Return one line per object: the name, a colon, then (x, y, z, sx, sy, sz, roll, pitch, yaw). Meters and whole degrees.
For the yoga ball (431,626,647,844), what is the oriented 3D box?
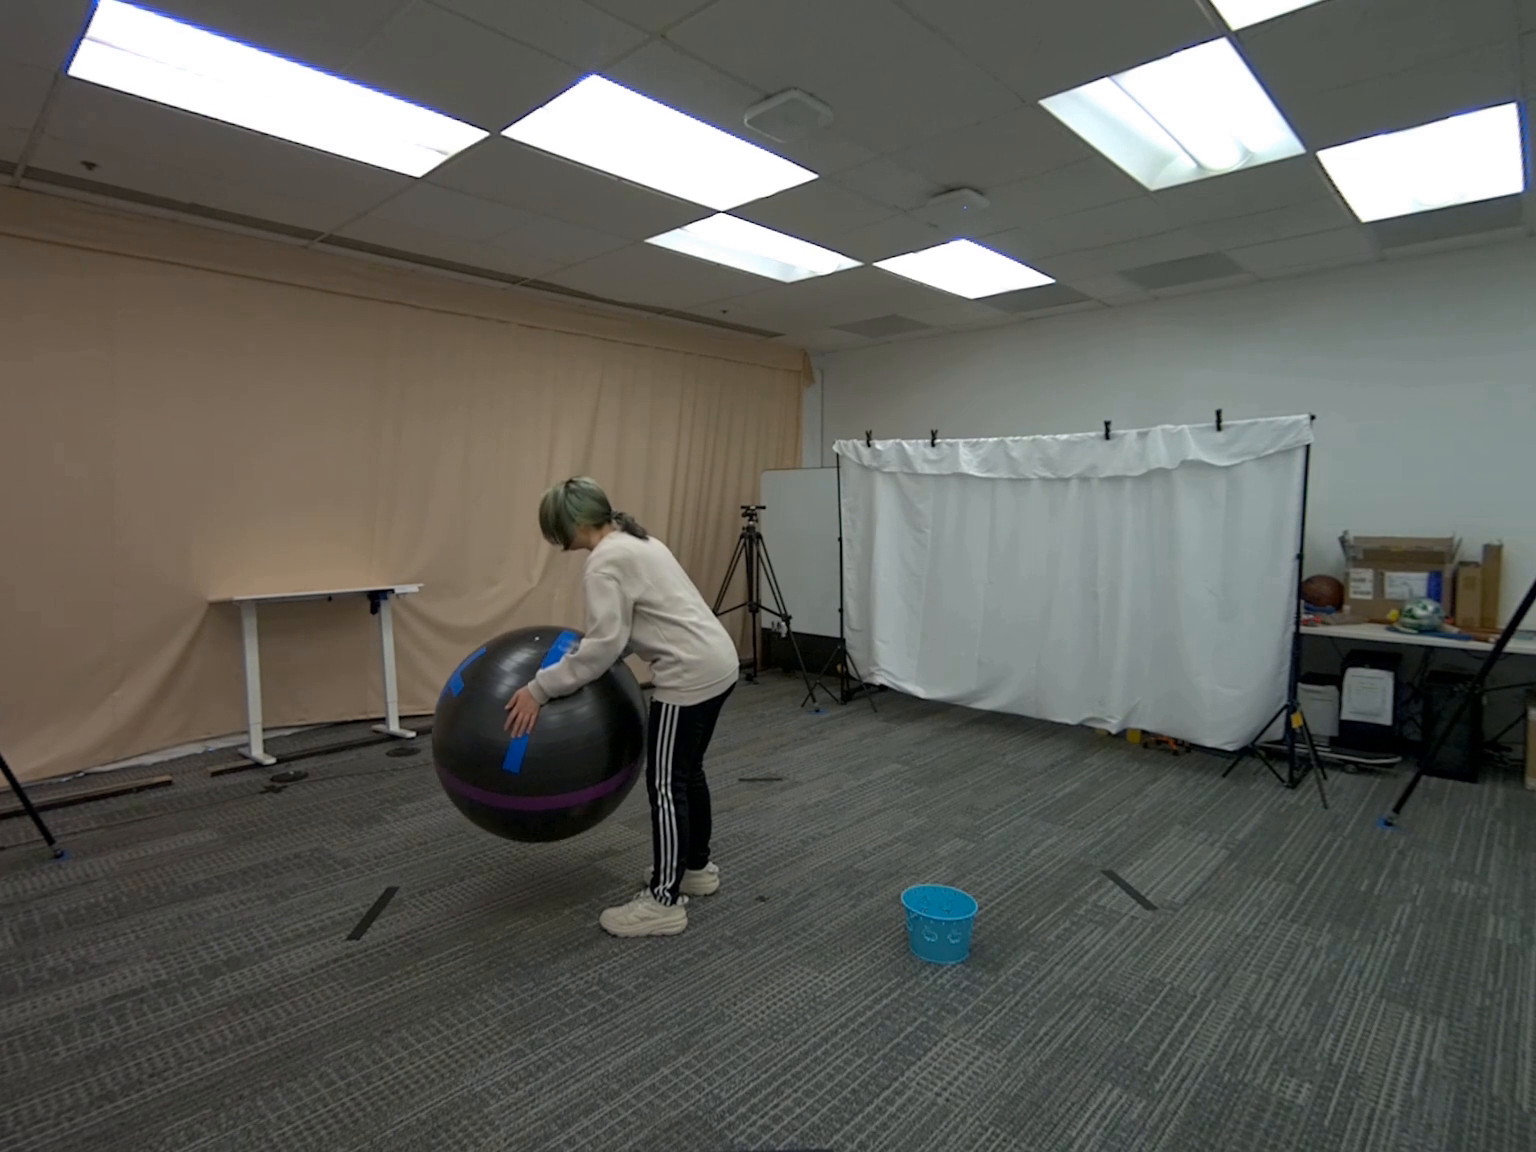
yoga ball: (-0.805, 0.565, 3.014, 0.757, 0.756, 0.760, 0, 4, -2)
